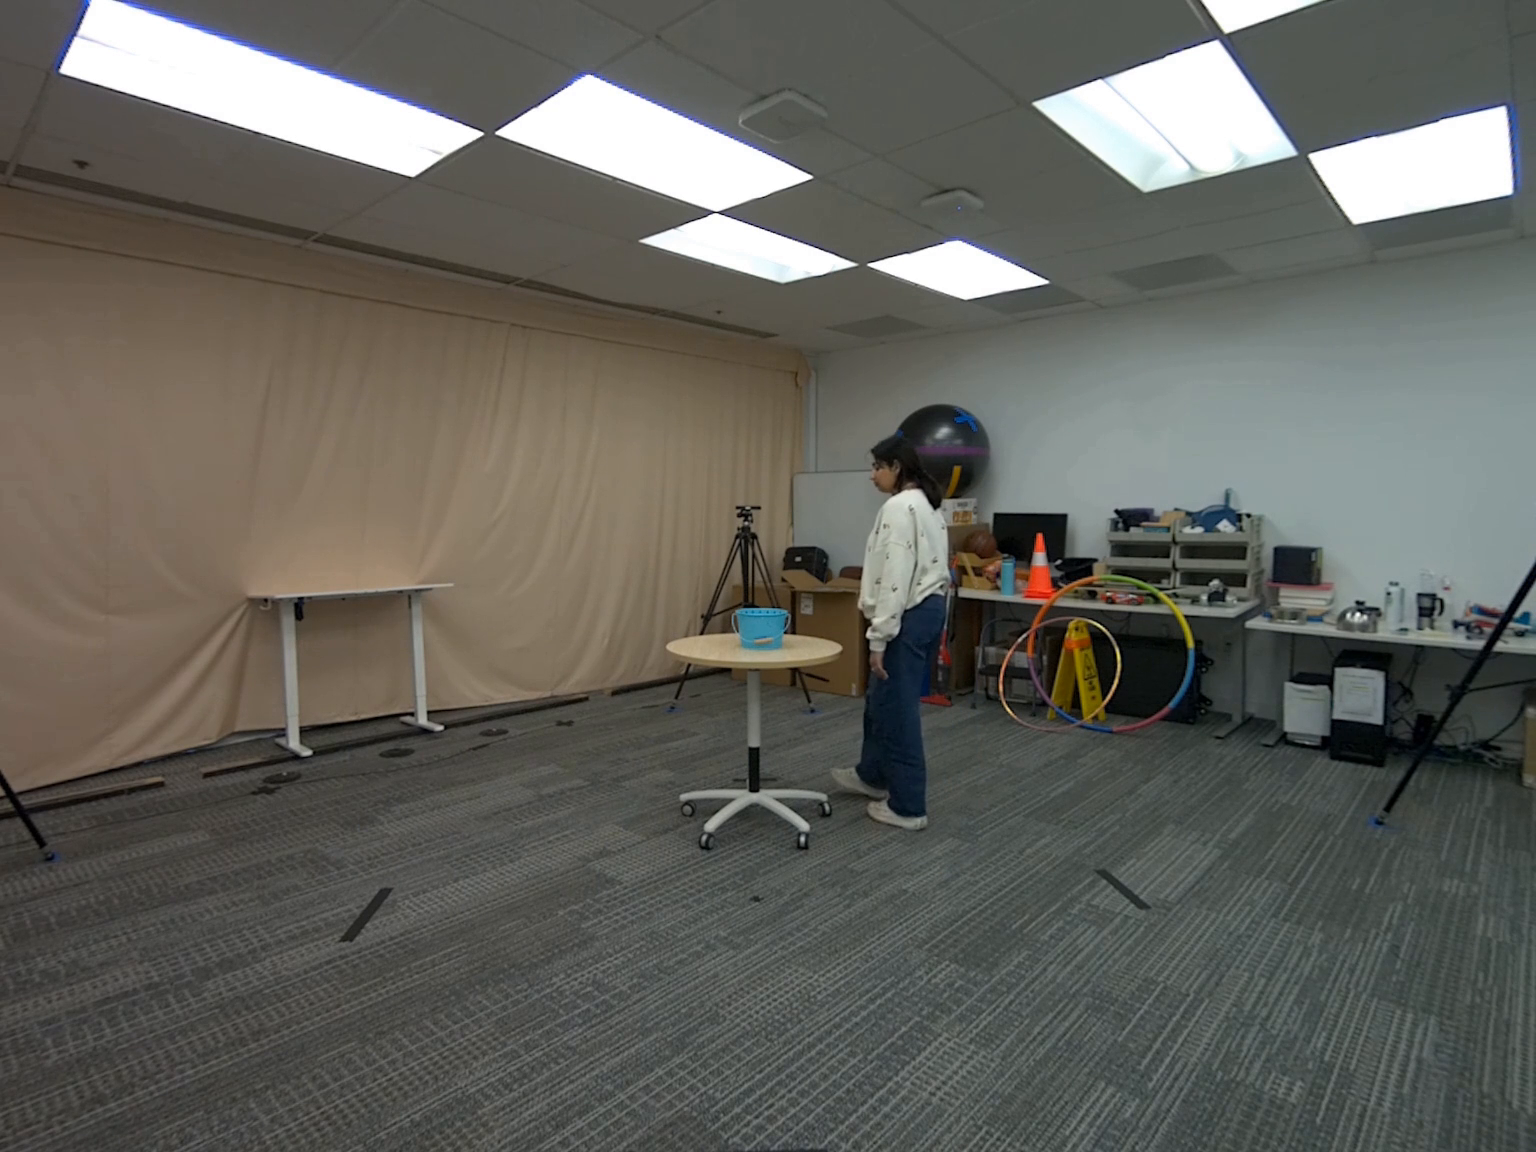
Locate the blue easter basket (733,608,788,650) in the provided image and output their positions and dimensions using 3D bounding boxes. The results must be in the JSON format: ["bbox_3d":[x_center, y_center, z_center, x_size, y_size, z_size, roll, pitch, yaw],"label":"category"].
[{"bbox_3d":[-0.027,0.234,3.688,0.243,0.156,0.244,0,2,-2],"label":"blue easter basket"}]
